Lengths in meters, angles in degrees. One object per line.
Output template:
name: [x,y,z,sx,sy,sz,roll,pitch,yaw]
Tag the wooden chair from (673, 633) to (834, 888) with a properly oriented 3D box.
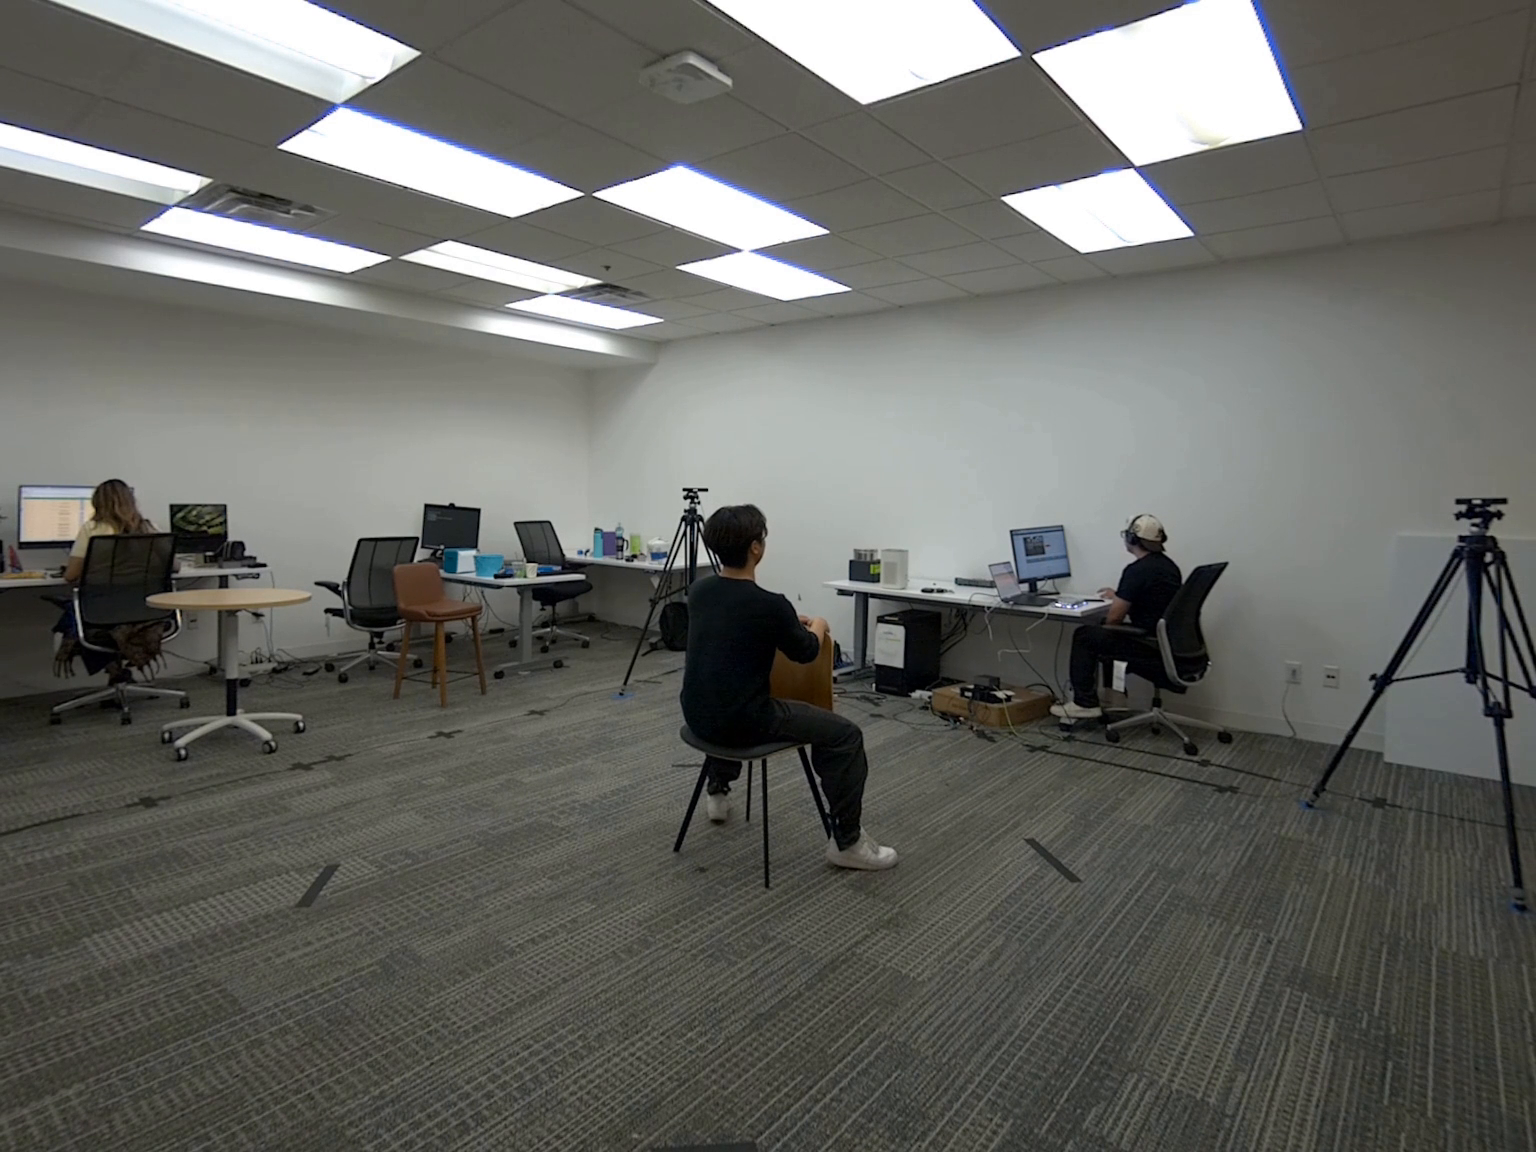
wooden chair: [-0.052,0.628,3.239,0.494,0.877,0.506,4,1,39]
